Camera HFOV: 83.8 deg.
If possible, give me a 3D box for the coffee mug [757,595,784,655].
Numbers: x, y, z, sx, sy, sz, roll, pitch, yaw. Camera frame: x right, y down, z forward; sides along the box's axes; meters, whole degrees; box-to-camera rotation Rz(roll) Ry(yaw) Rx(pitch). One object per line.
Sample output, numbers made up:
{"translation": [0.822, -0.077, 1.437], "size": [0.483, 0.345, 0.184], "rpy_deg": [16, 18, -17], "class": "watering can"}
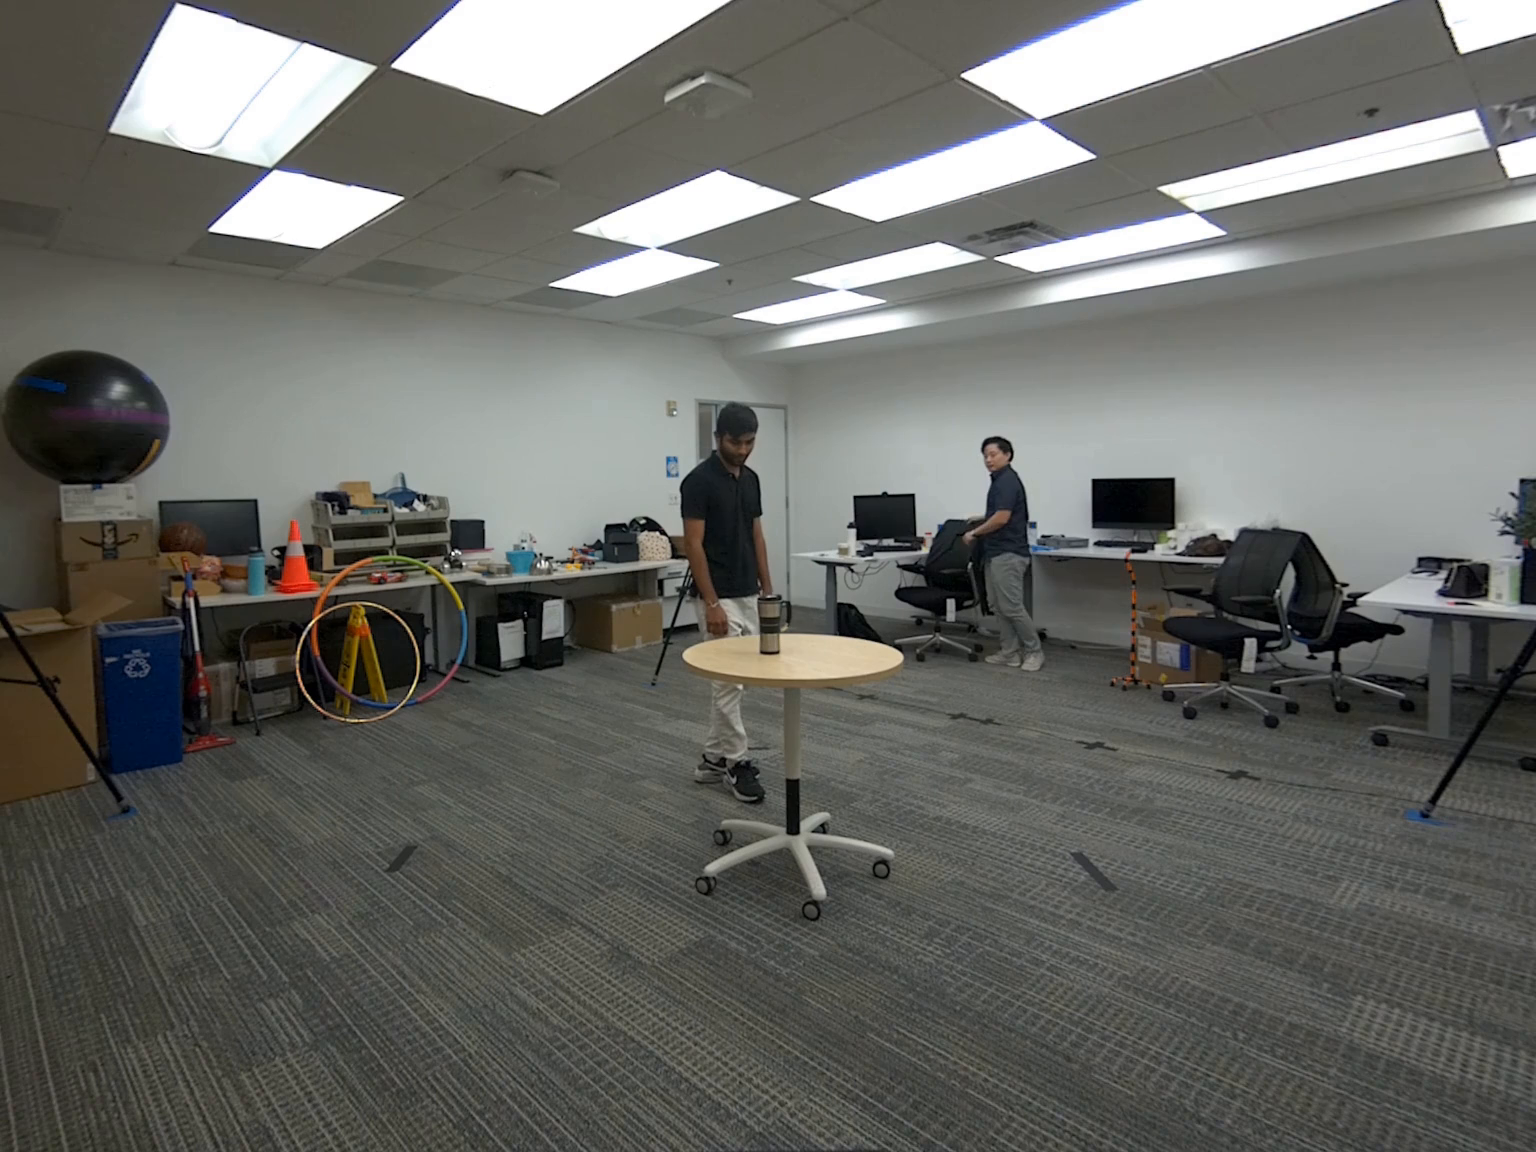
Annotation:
{"translation": [0.021, 0.176, 2.984], "size": [0.085, 0.203, 0.125], "rpy_deg": [4, -3, -36], "class": "coffee mug"}
